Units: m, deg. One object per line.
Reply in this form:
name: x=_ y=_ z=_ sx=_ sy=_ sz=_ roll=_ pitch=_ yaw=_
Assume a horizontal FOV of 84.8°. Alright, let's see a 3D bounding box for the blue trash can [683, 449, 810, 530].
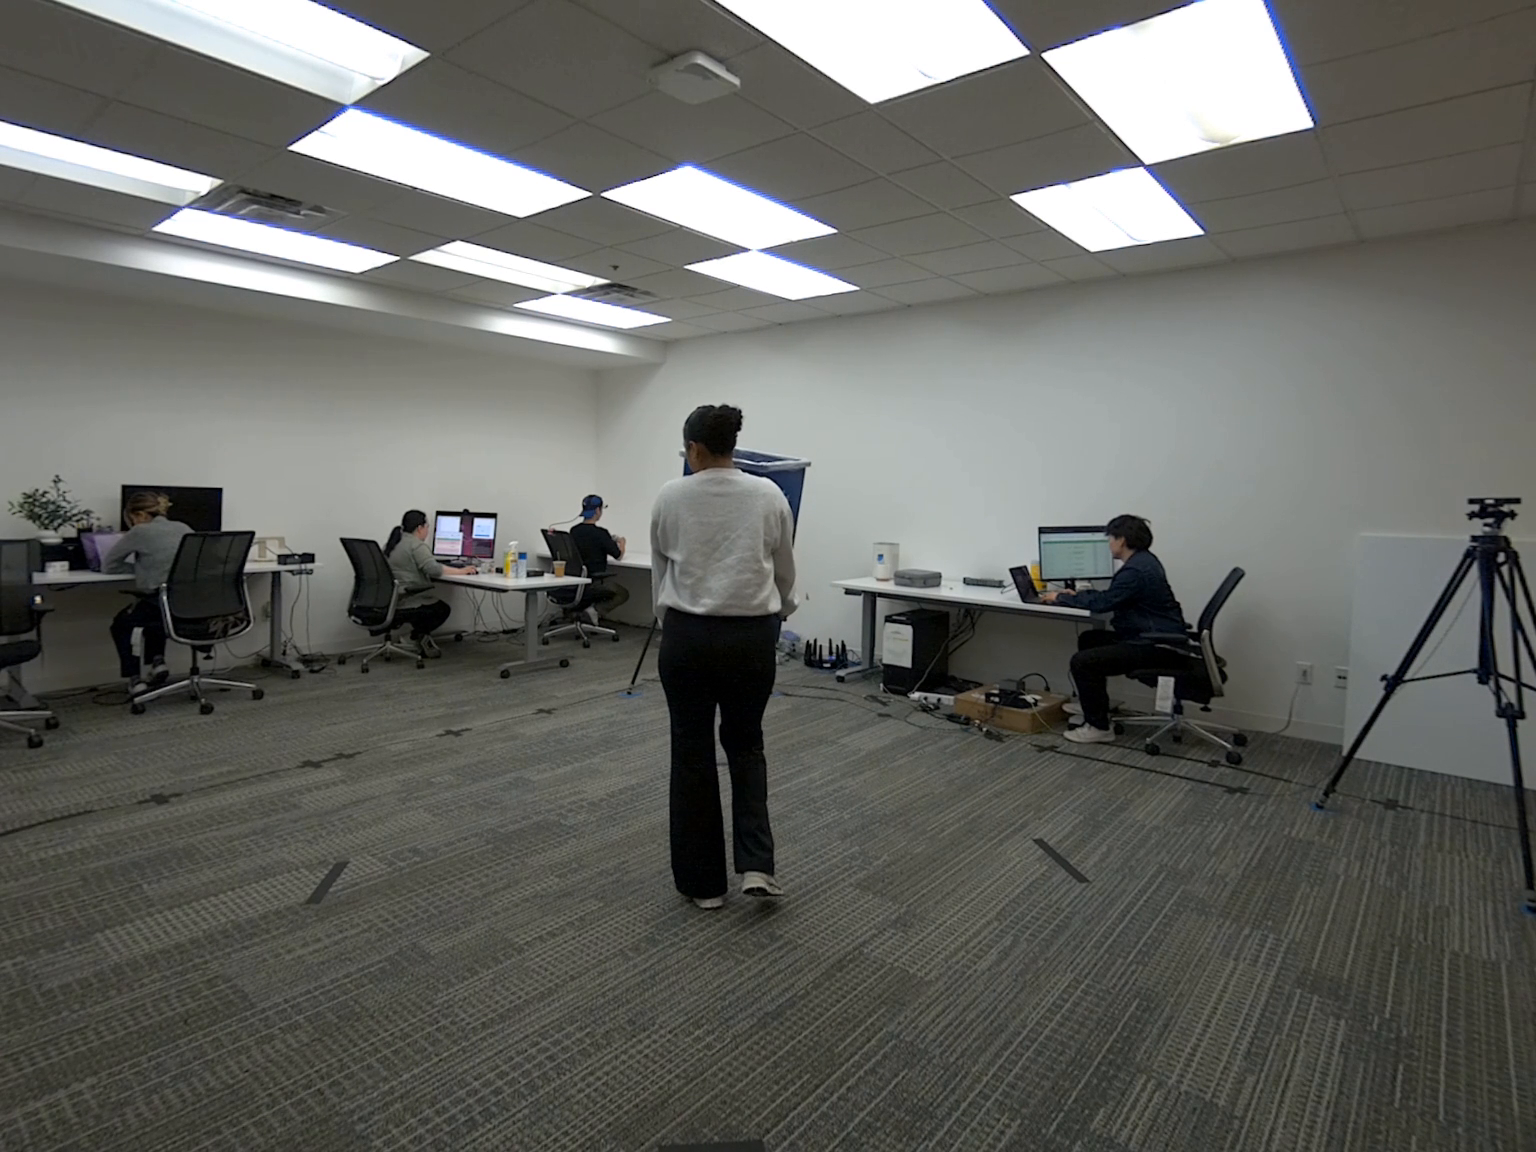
blue trash can: x=-0.115 y=-0.099 z=3.156 sx=0.386 sy=0.706 sz=0.370 roll=13 pitch=14 yaw=29
